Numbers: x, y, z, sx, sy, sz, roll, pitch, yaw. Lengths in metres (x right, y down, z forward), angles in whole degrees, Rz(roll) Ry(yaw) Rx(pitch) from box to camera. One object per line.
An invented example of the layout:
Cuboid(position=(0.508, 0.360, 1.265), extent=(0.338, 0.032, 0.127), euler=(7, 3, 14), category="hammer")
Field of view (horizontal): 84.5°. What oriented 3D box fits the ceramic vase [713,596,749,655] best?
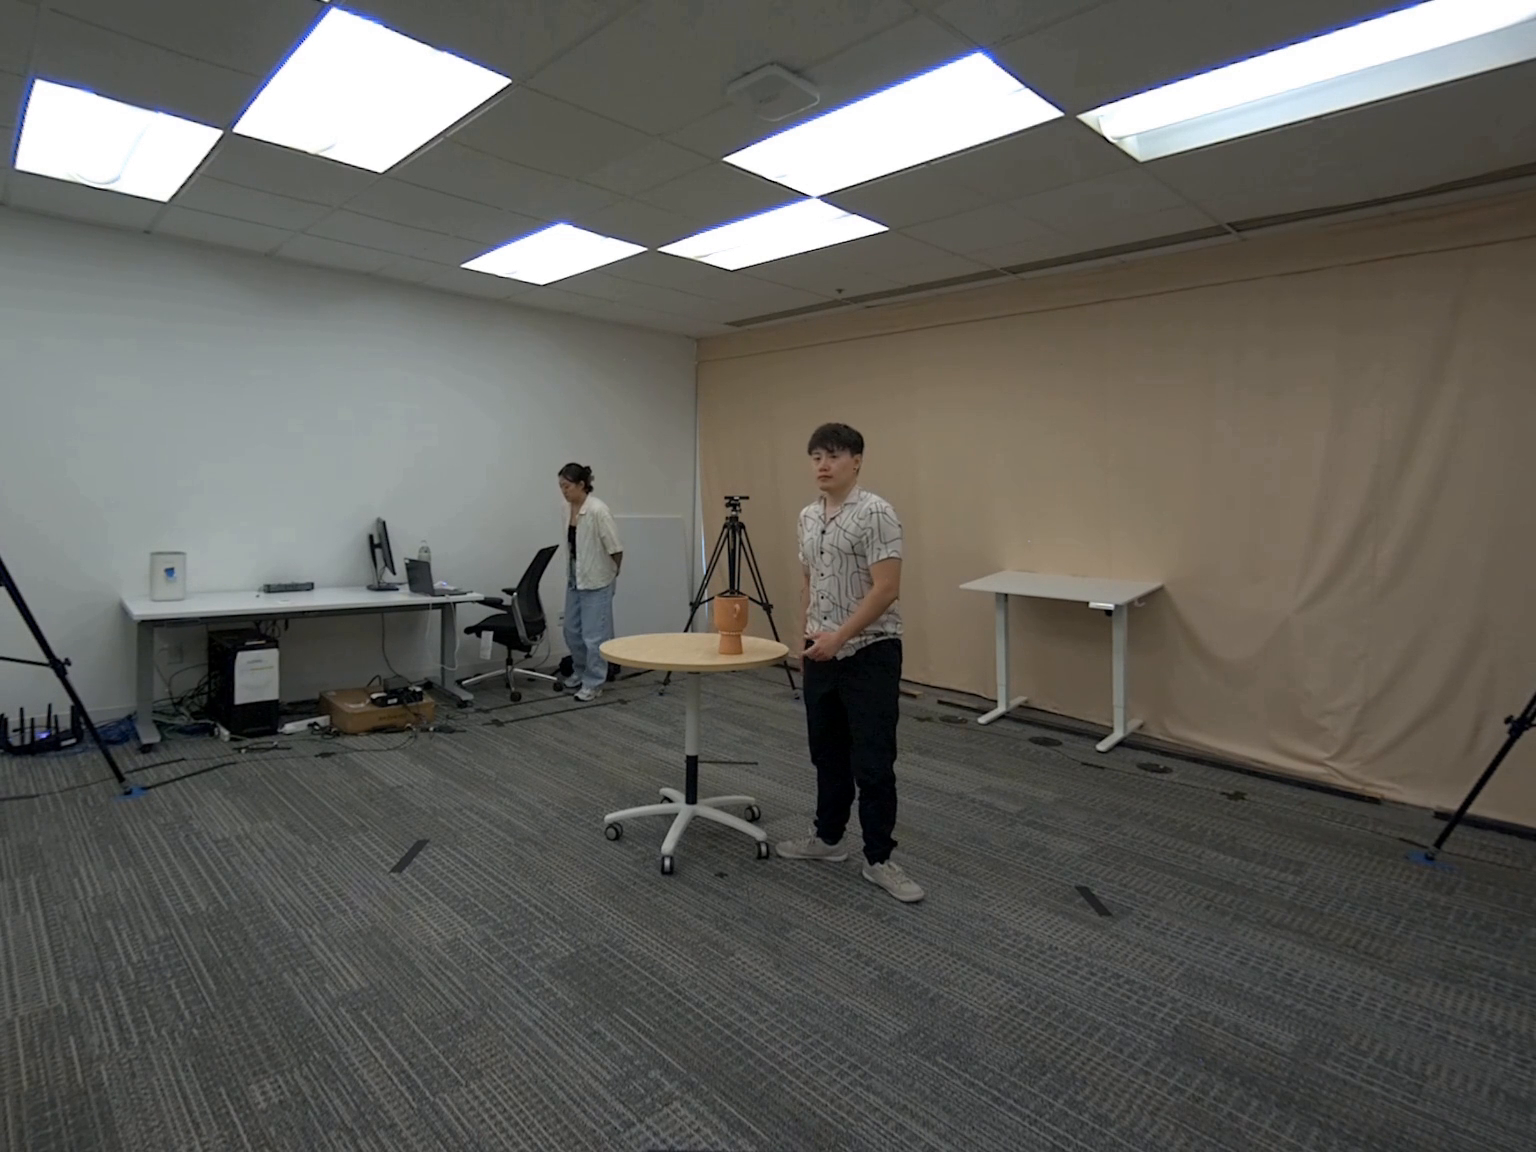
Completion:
Cuboid(position=(-0.145, 0.190, 3.297), extent=(0.137, 0.219, 0.157), euler=(3, 3, 19), category="ceramic vase")
